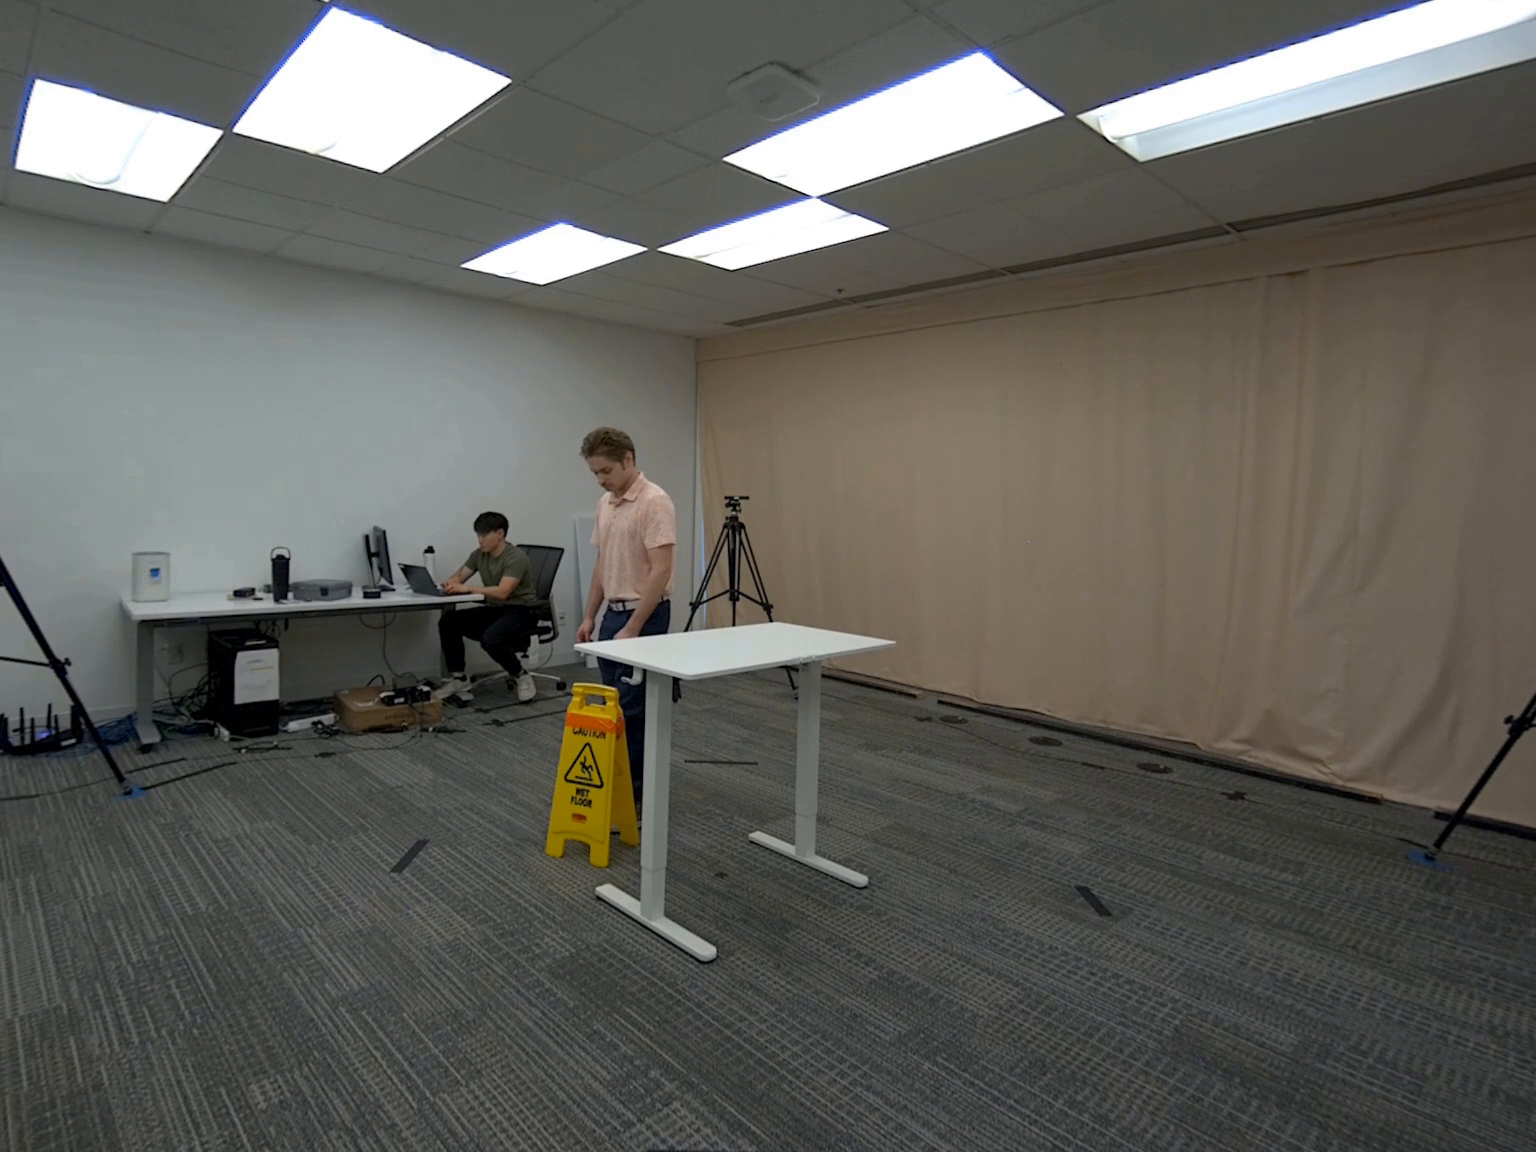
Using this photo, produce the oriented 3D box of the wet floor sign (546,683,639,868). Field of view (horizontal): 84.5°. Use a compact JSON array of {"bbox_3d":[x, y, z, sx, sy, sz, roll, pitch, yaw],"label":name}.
[{"bbox_3d":[-0.687,0.754,3.289,0.287,0.644,0.286,5,5,19],"label":"wet floor sign"}]
